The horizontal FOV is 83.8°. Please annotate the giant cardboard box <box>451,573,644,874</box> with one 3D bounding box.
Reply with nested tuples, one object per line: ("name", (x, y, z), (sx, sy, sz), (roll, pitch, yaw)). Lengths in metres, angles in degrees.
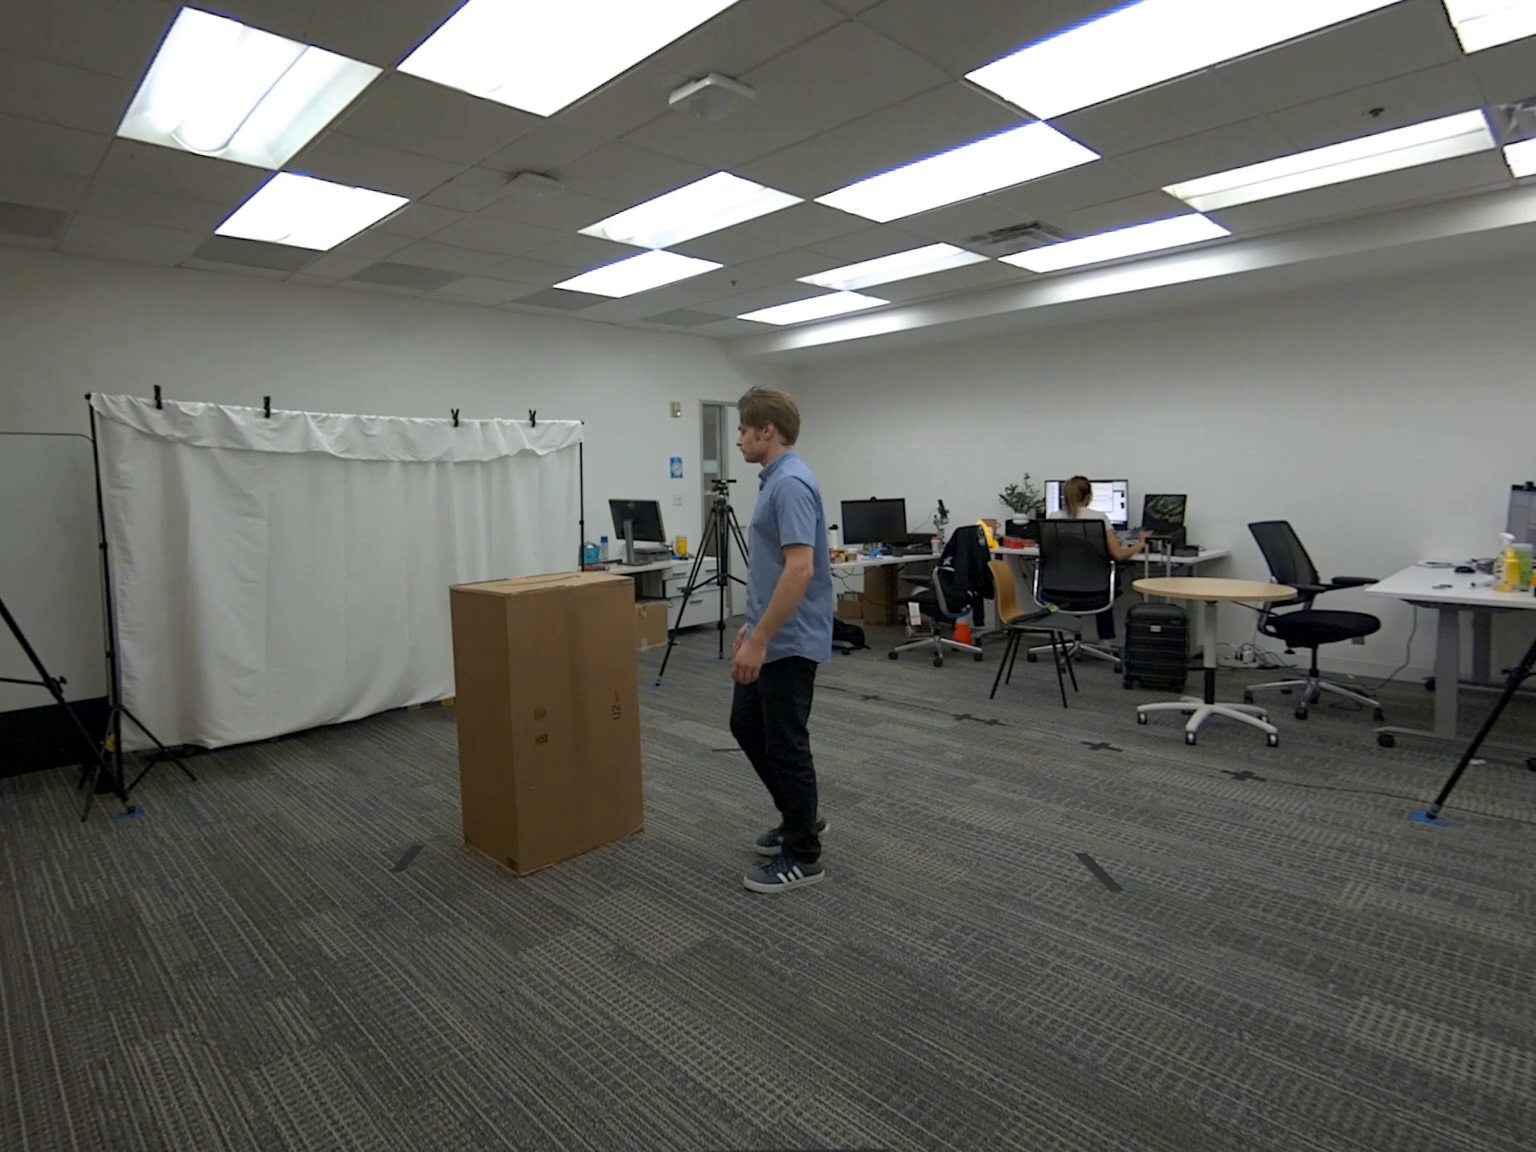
("giant cardboard box", (-0.863, 0.530, 3.357), (0.562, 1.022, 0.439), (-6, 6, -44))
